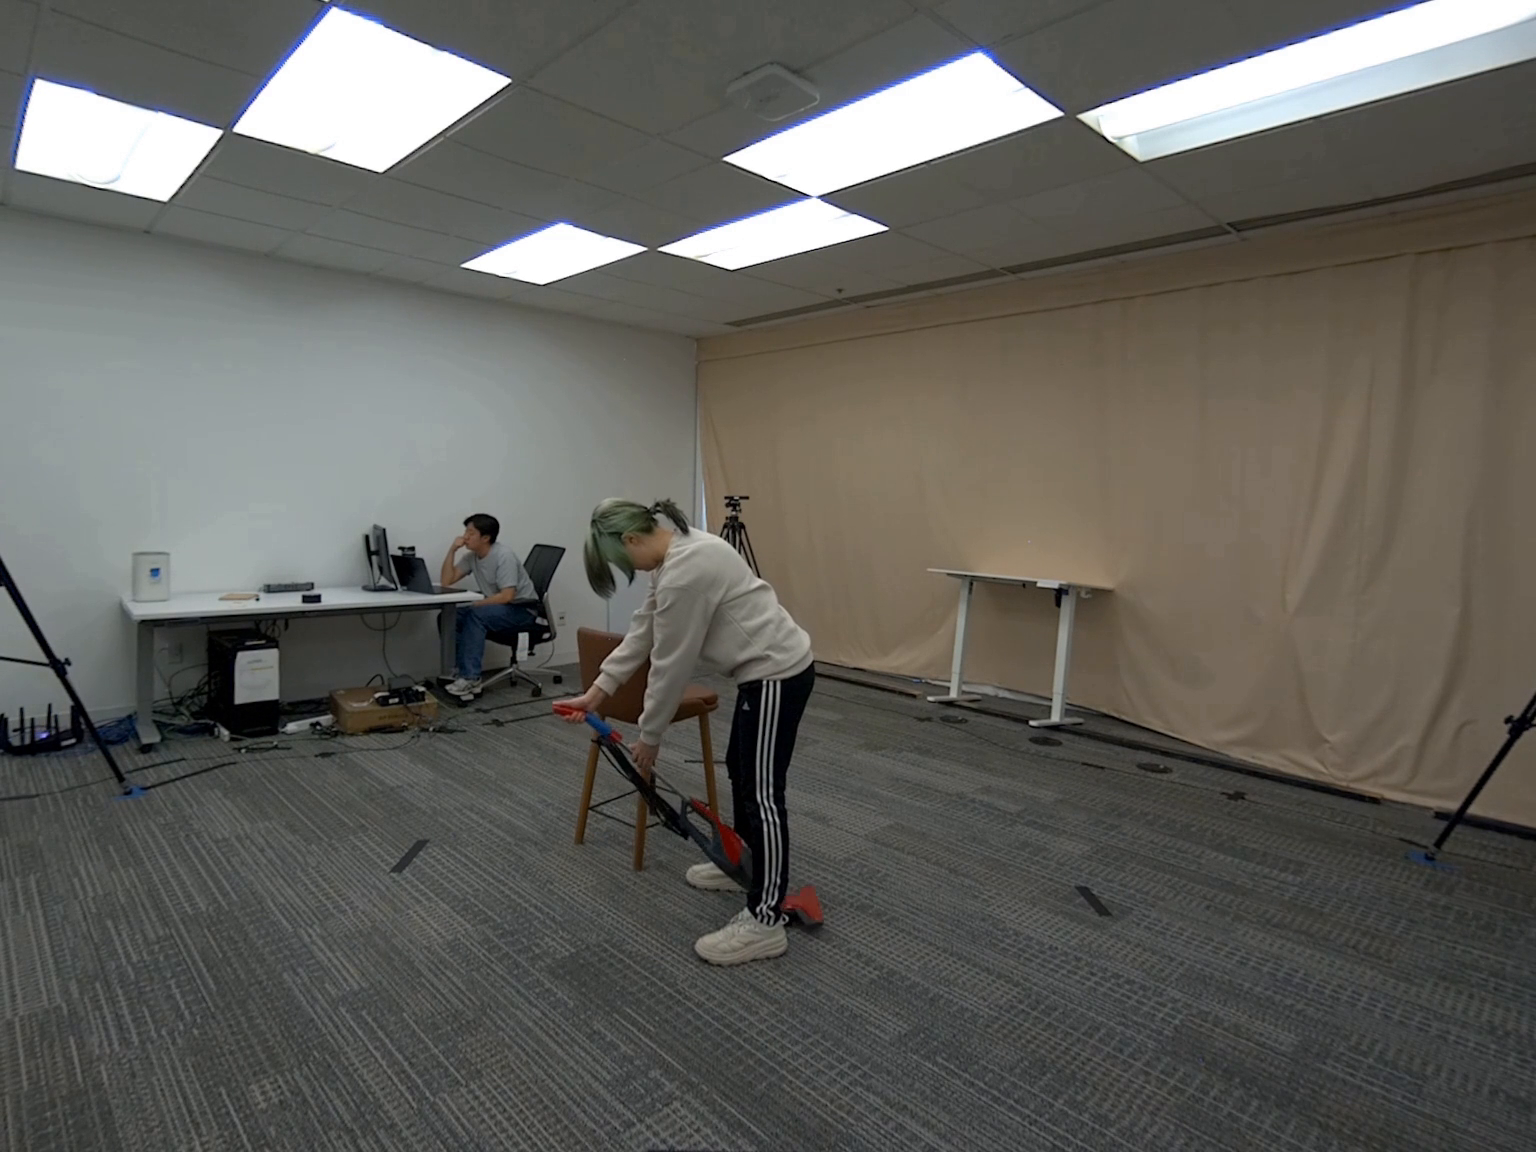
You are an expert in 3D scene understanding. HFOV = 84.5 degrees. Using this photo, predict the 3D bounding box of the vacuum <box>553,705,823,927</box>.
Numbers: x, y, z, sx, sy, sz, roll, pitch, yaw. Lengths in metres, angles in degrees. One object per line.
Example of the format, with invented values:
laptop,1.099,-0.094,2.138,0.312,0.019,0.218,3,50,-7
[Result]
vacuum,-0.302,0.771,2.778,1.046,0.144,0.253,41,0,-3
